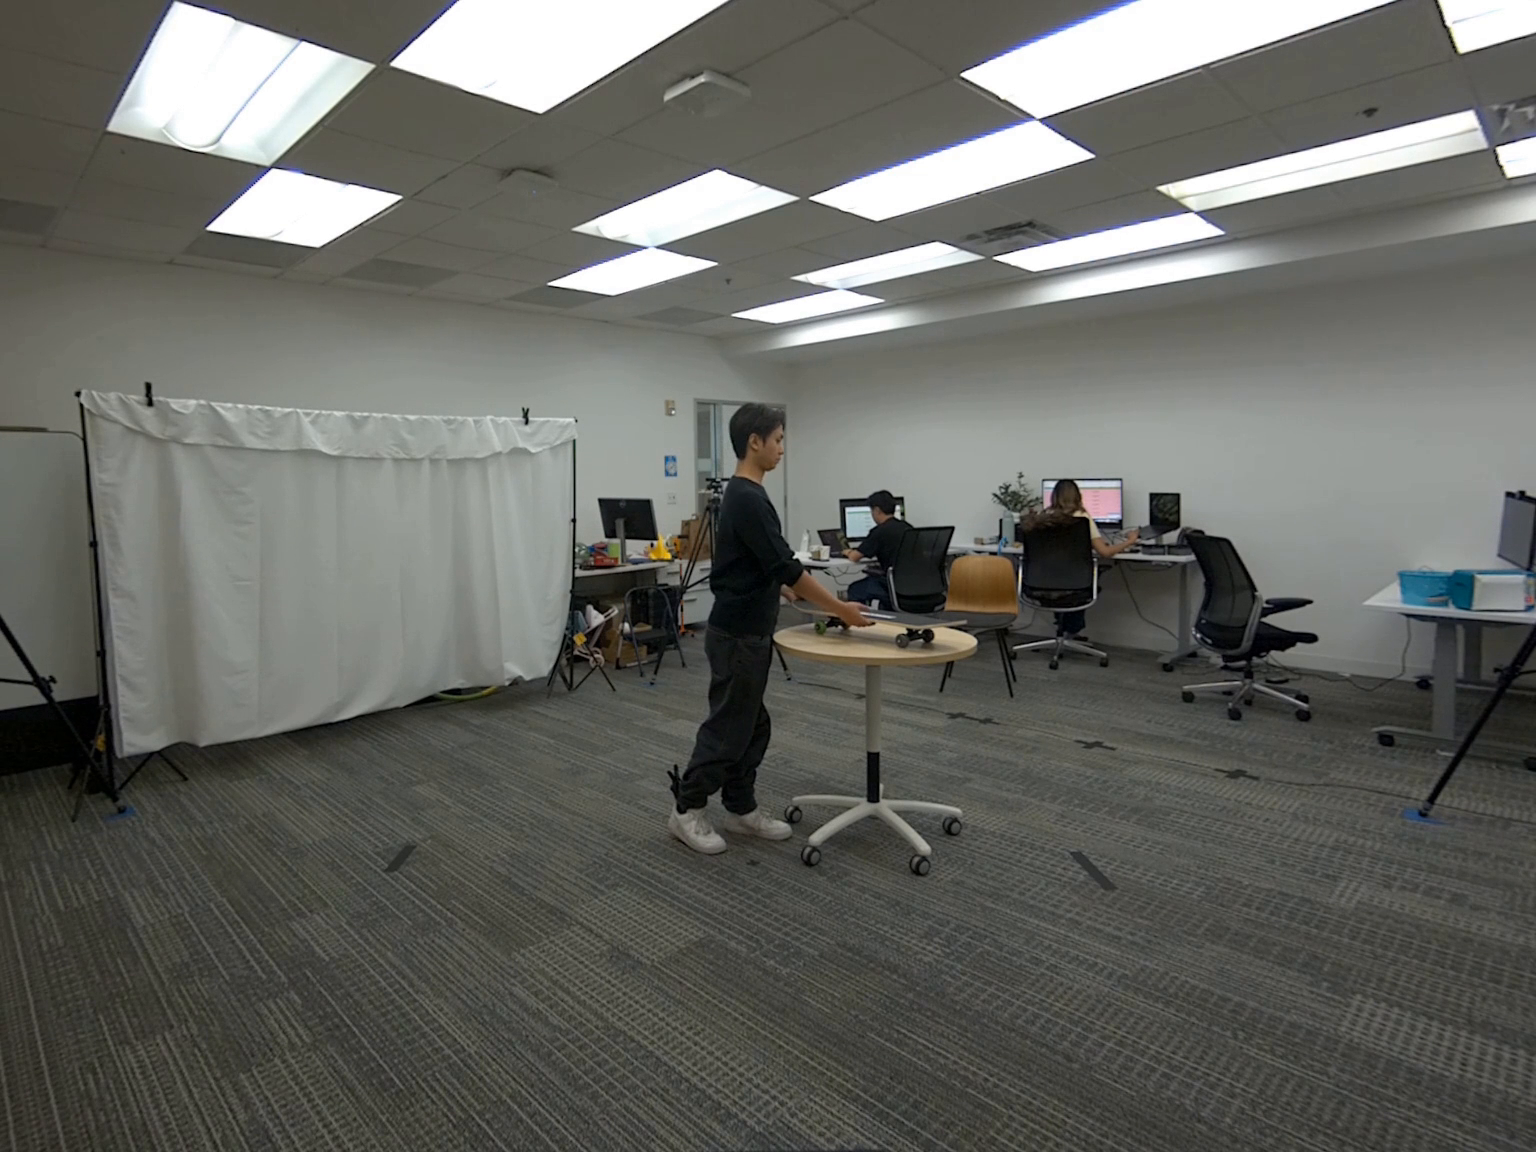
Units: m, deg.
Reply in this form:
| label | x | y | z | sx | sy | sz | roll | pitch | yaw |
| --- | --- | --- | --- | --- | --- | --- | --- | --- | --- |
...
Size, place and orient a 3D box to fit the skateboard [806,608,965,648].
| label | x | y | z | sx | sy | sz | roll | pitch | yaw |
| --- | --- | --- | --- | --- | --- | --- | --- | --- | --- |
| skateboard | 0.400 | 0.184 | 3.259 | 0.188 | 0.110 | 0.810 | -5 | 7 | -43 |
